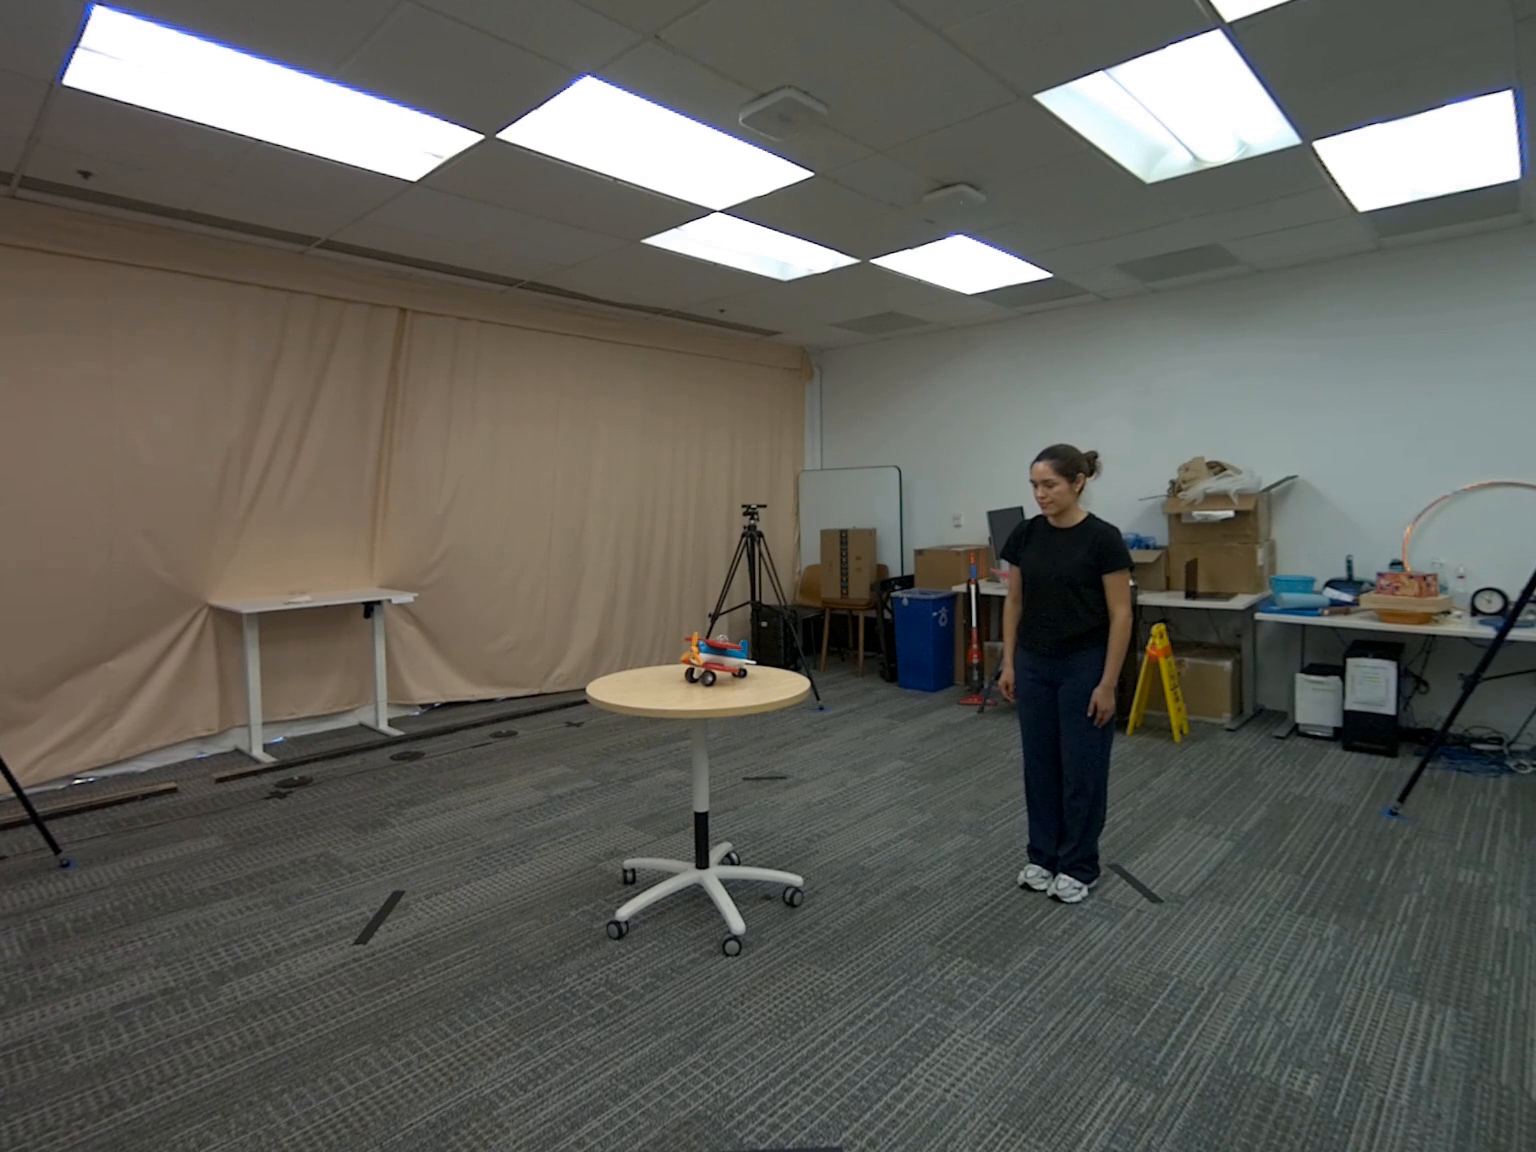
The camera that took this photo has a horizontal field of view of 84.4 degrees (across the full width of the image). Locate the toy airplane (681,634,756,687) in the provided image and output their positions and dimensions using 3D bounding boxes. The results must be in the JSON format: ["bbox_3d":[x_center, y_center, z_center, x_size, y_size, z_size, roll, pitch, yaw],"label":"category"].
[{"bbox_3d":[-0.166,0.289,2.945,0.256,0.156,0.254,0,5,20],"label":"toy airplane"}]
